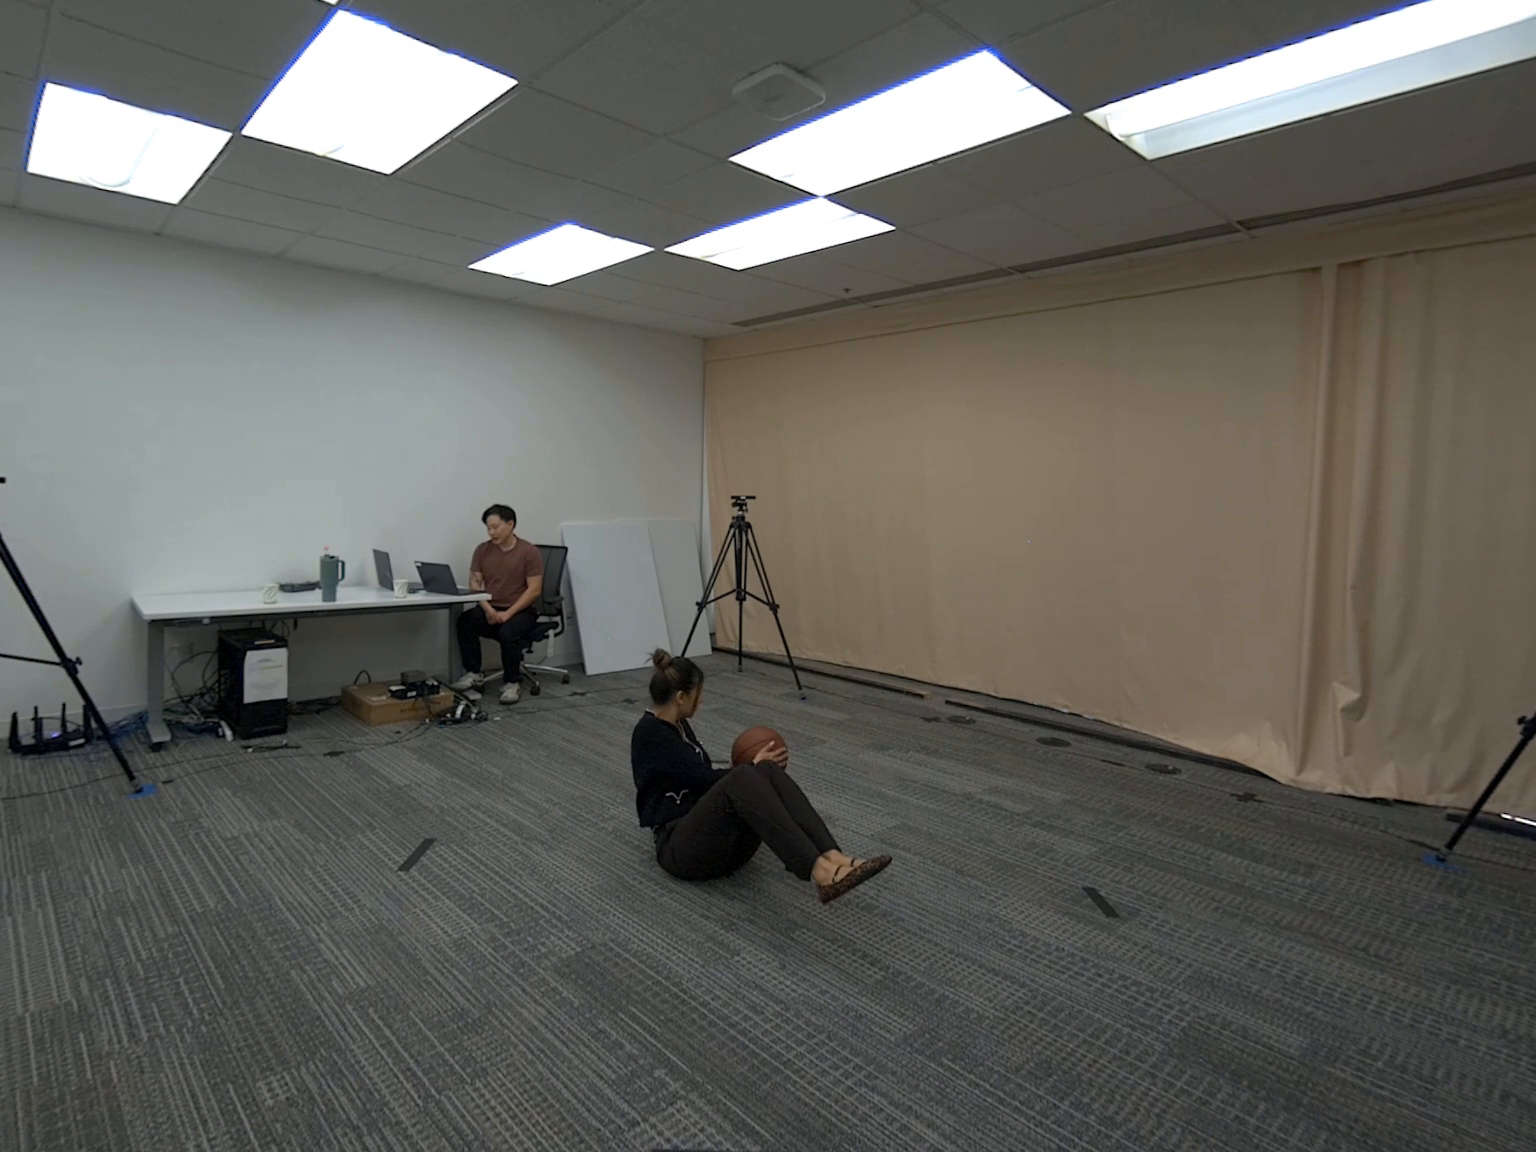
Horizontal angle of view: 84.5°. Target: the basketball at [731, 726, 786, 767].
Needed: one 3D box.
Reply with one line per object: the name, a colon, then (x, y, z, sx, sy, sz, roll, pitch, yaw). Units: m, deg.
basketball: (-0.047, 0.736, 3.455, 0.236, 0.235, 0.237, 1, 4, -1)
